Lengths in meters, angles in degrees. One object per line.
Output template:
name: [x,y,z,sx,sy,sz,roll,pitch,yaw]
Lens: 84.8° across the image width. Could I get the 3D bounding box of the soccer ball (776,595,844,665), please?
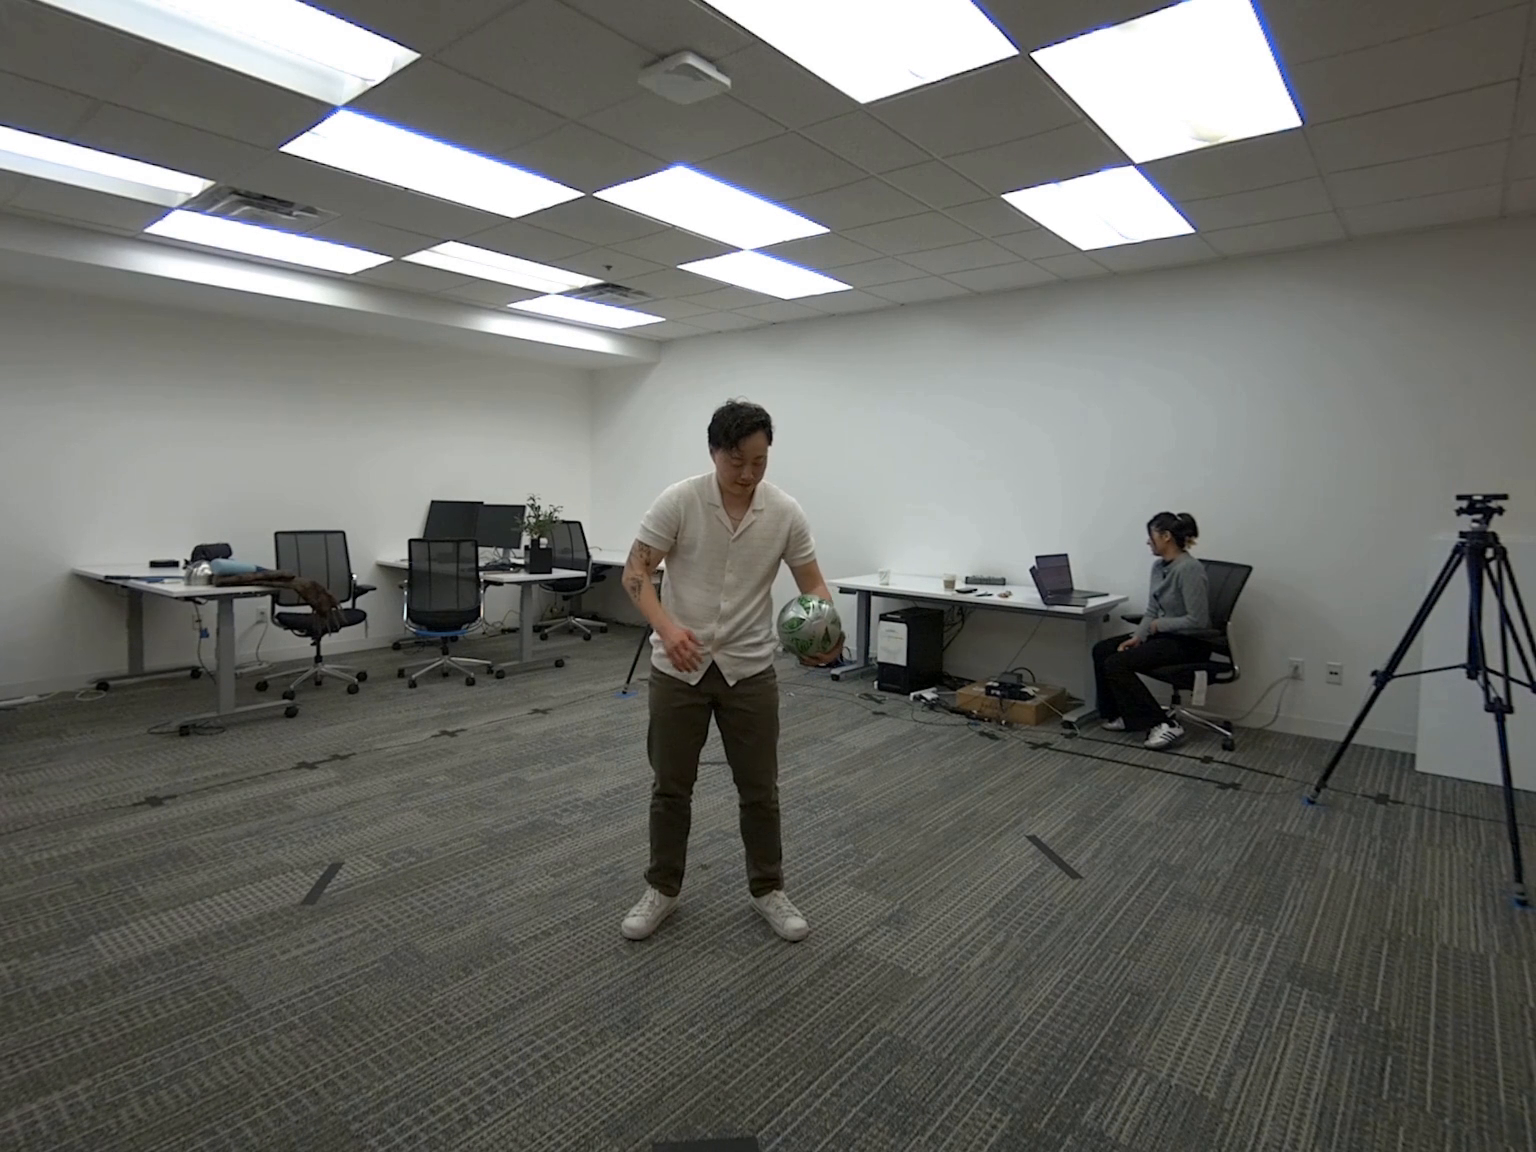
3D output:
soccer ball: [0.110,0.155,2.489,0.187,0.187,0.188,1,4,-2]
